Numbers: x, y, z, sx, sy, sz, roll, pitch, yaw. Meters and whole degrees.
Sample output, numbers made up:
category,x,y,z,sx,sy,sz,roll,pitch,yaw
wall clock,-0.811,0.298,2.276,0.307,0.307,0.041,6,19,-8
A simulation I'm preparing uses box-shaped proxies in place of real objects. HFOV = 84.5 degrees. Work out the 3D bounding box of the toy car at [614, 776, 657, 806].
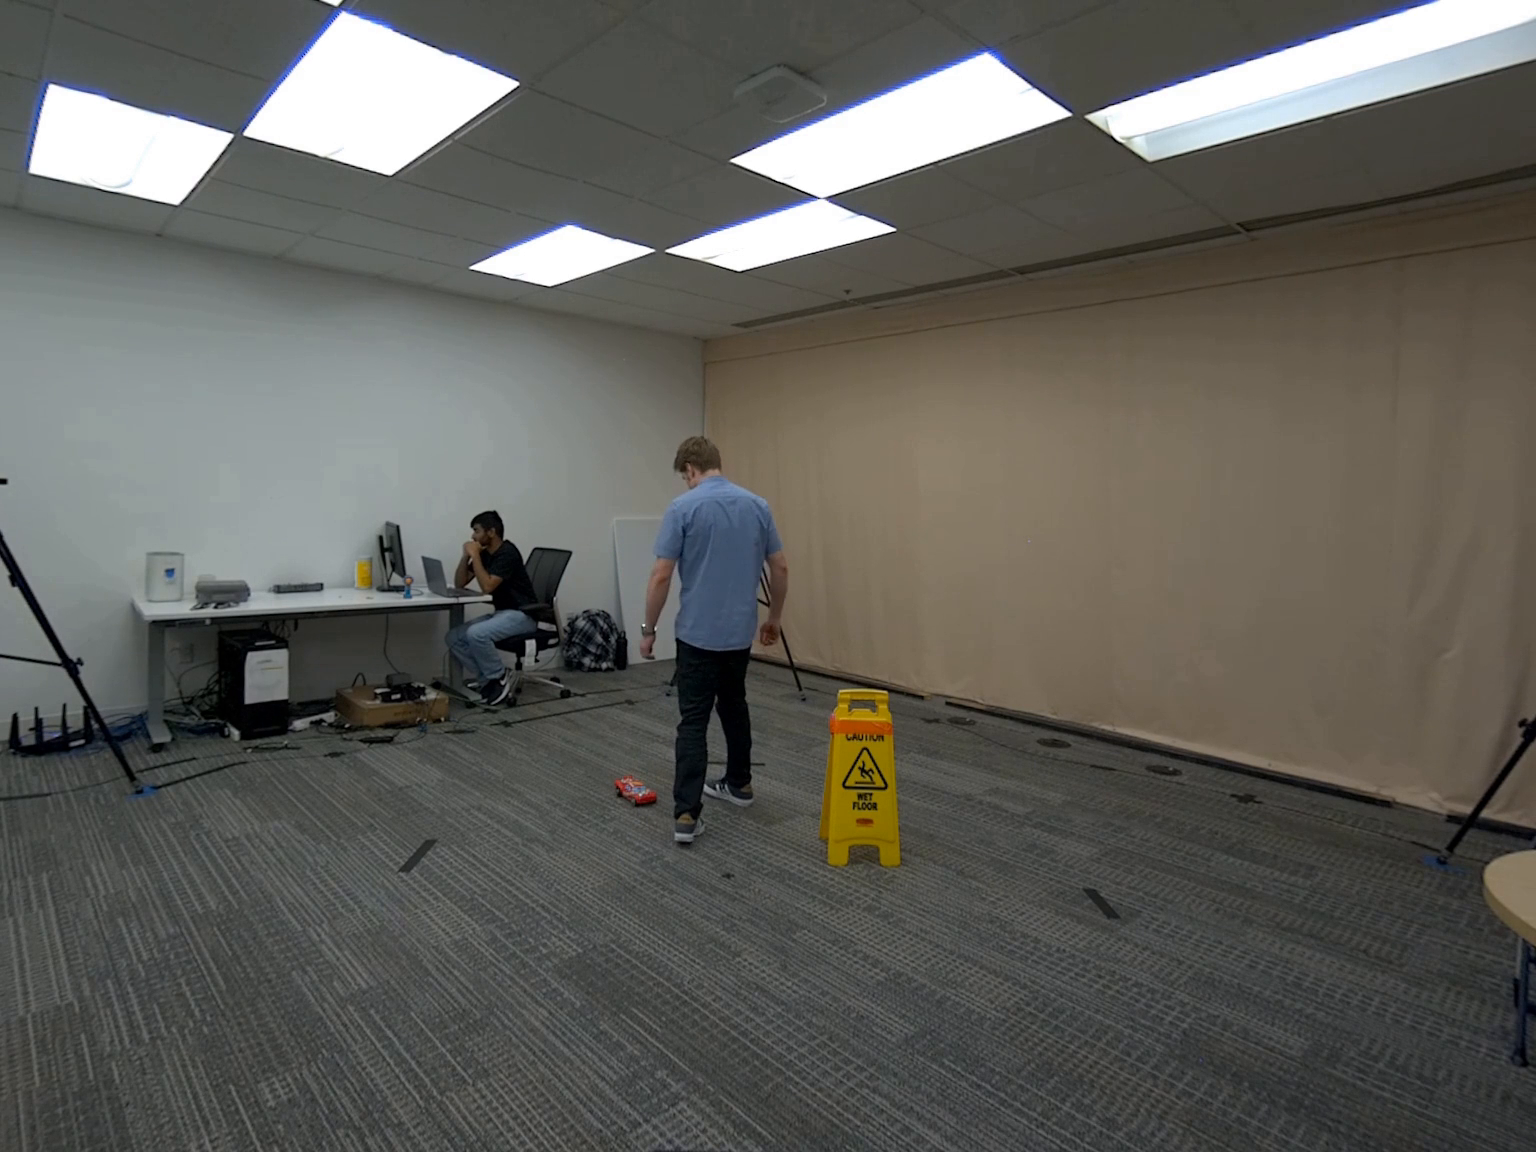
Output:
category,x,y,z,sx,sy,sz,roll,pitch,yaw
toy car,-0.633,0.998,3.894,0.127,0.082,0.262,-1,16,-36
